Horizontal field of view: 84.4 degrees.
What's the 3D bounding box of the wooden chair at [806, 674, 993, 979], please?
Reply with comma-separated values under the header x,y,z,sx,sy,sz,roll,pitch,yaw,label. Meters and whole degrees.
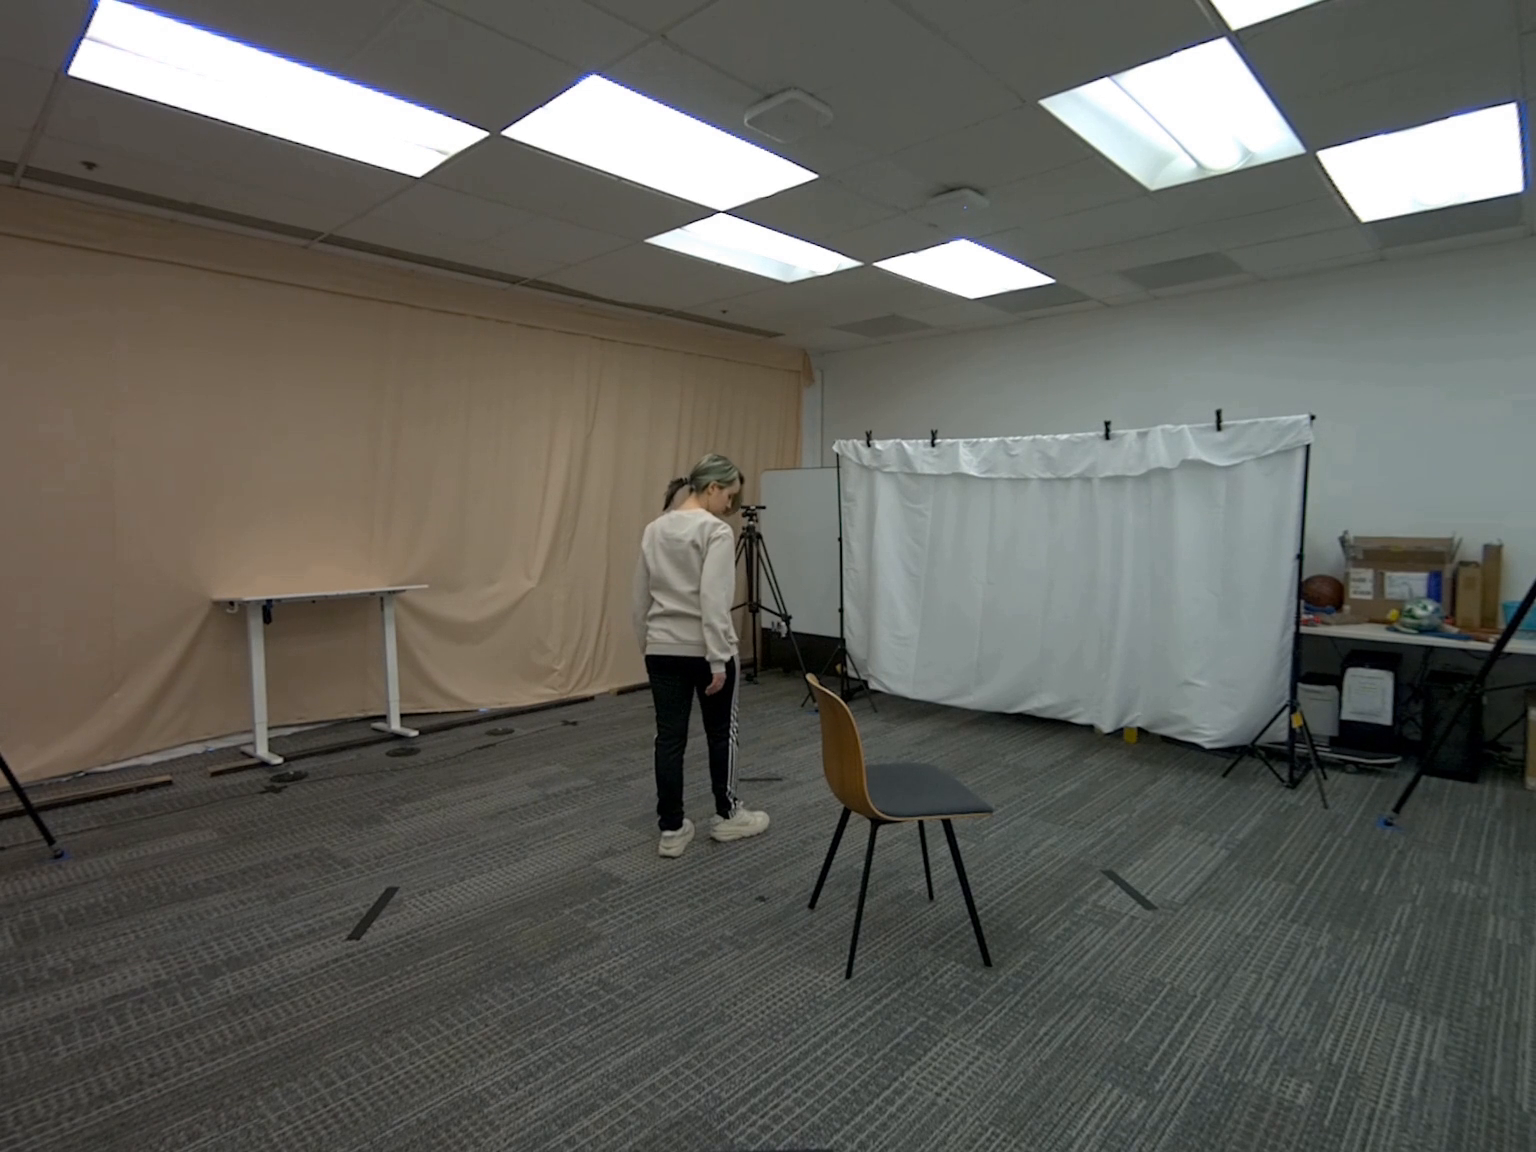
x,y,z,sx,sy,sz,roll,pitch,yaw,label
0.420,0.739,2.703,0.517,0.875,0.484,-5,4,-11,wooden chair
